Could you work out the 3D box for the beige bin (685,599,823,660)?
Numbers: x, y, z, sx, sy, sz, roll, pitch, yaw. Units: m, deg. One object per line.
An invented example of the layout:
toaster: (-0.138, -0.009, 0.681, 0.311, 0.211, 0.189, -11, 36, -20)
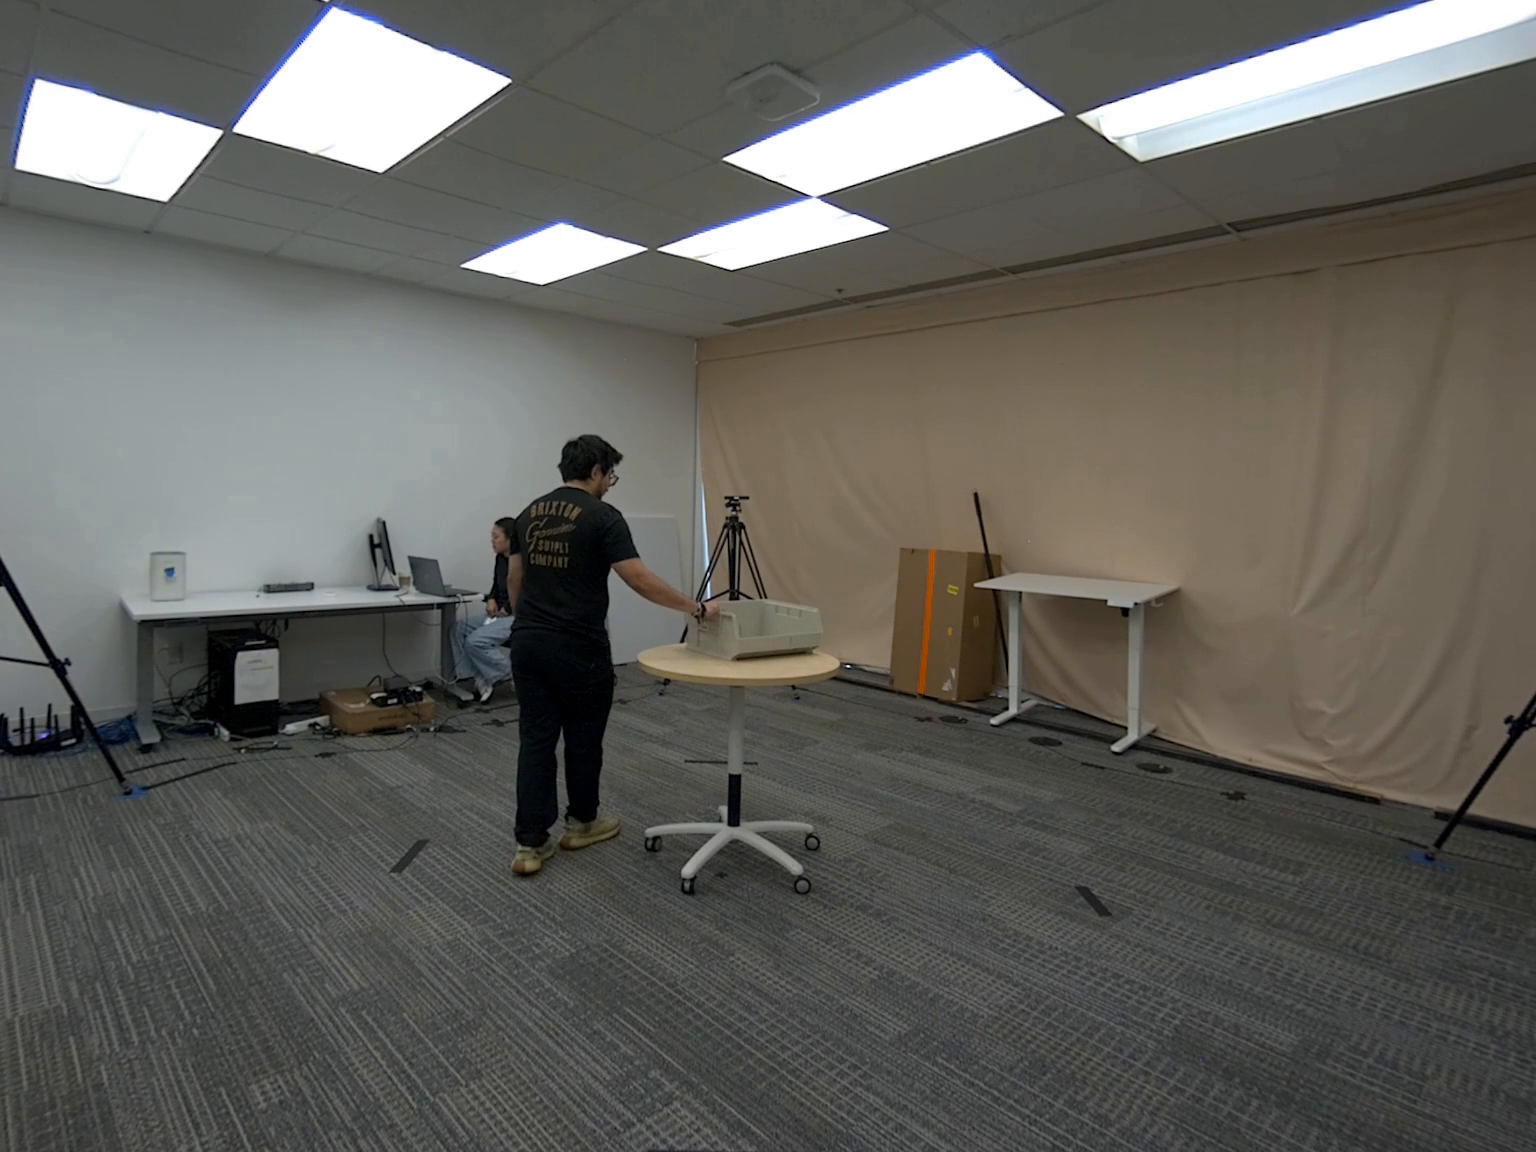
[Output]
beige bin: (-0.062, 0.213, 3.354, 0.413, 0.188, 0.386, -2, 5, -38)
